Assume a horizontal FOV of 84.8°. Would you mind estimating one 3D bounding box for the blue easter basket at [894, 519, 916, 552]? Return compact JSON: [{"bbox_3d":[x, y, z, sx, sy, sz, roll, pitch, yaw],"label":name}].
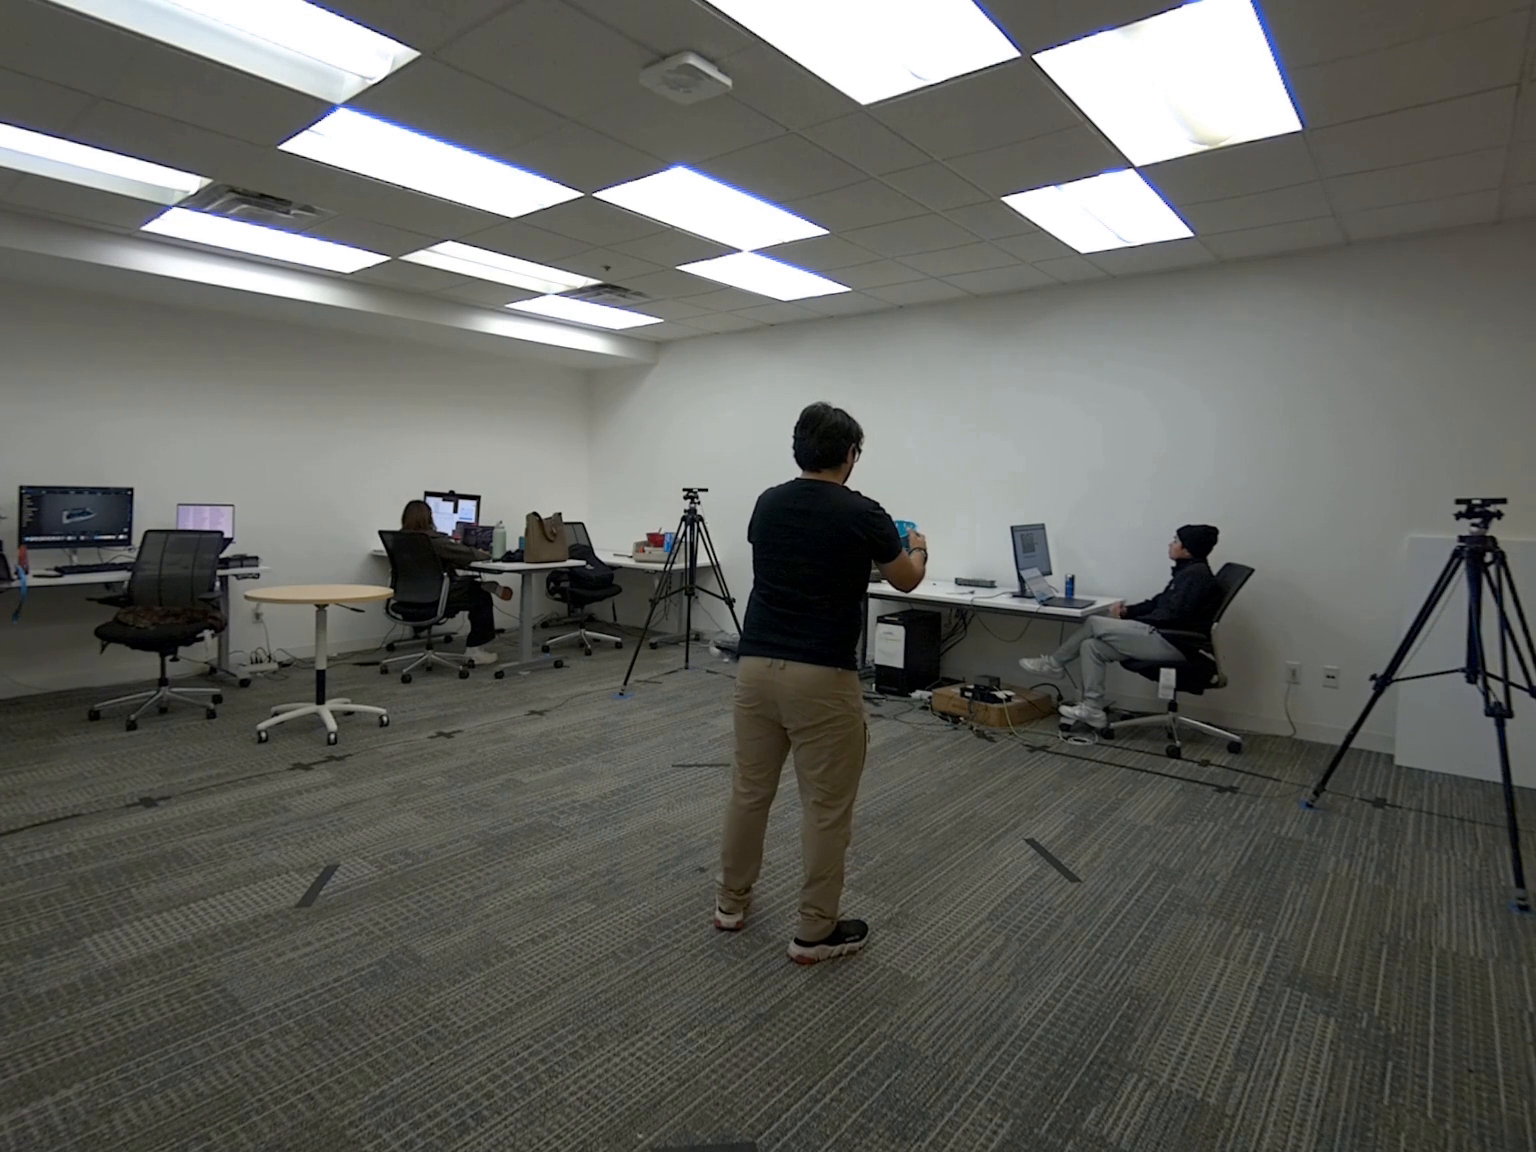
[{"bbox_3d":[0.412,-0.095,3.009,0.244,0.153,0.247,-11,15,1],"label":"blue easter basket"}]
